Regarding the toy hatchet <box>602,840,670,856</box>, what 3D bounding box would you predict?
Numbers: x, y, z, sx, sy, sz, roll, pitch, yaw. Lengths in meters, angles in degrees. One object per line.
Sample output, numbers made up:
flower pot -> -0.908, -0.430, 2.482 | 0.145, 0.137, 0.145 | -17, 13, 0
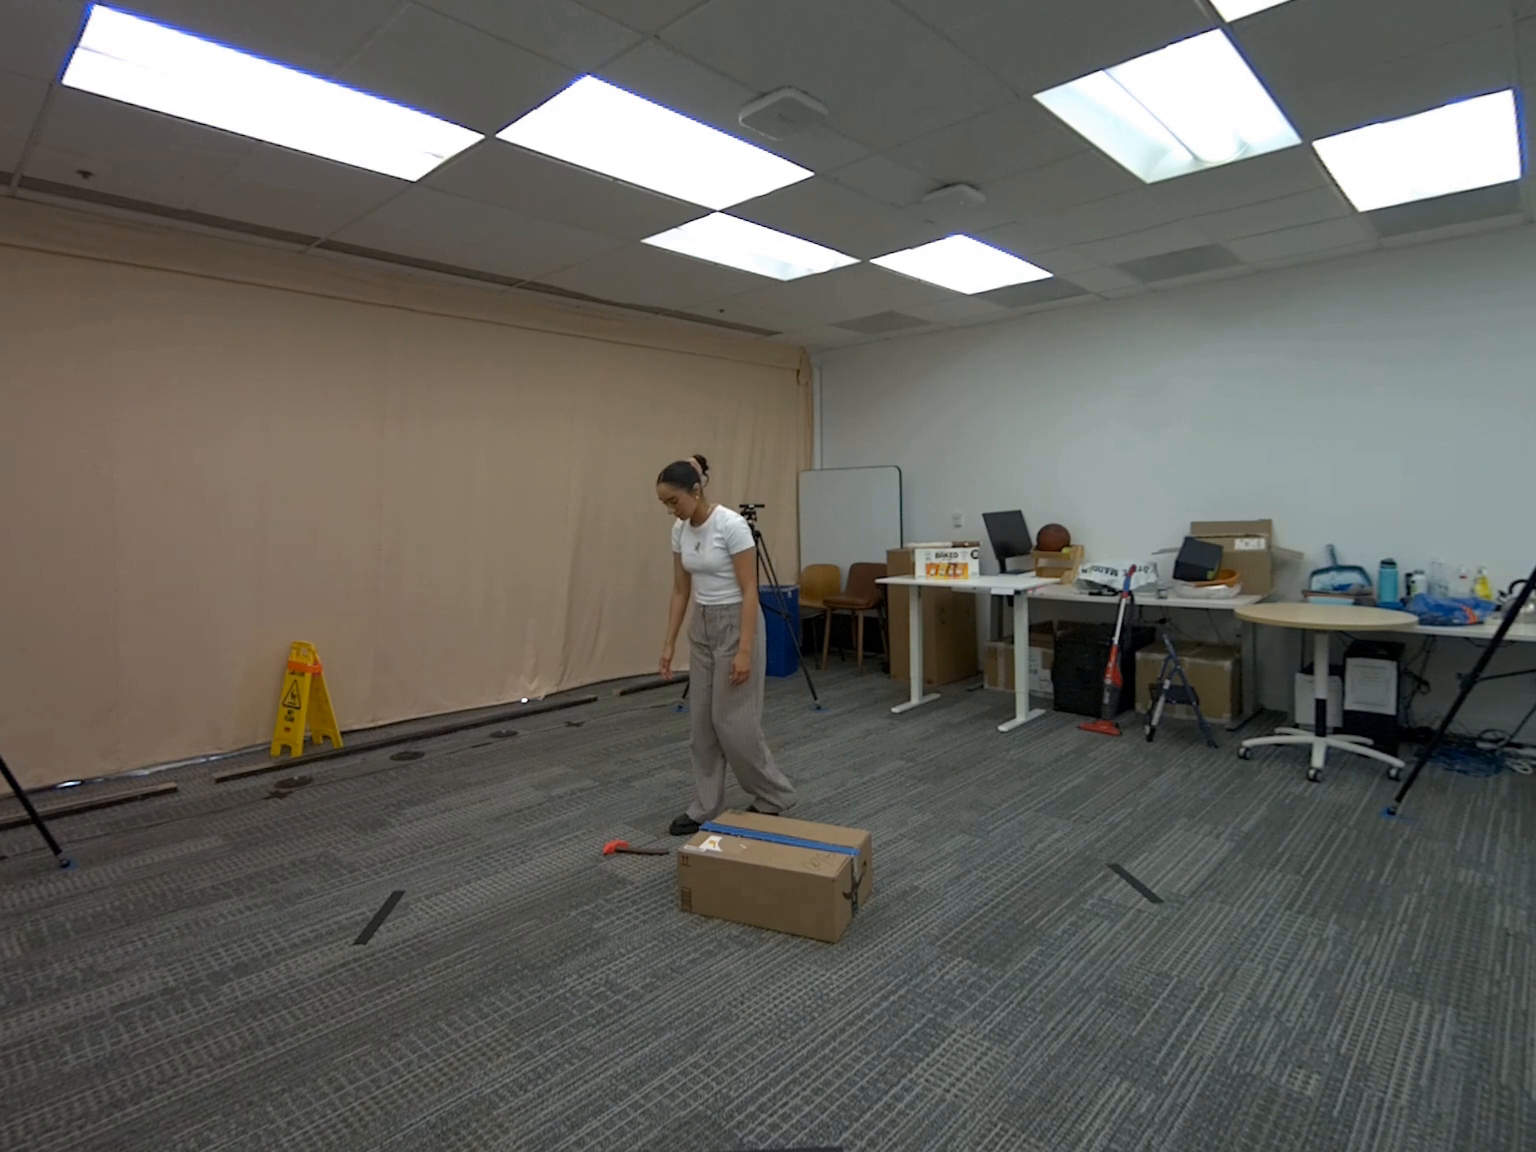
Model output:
toy hatchet -> -0.533, 1.103, 3.425 | 0.270, 0.029, 0.131 | 1, 2, 0
